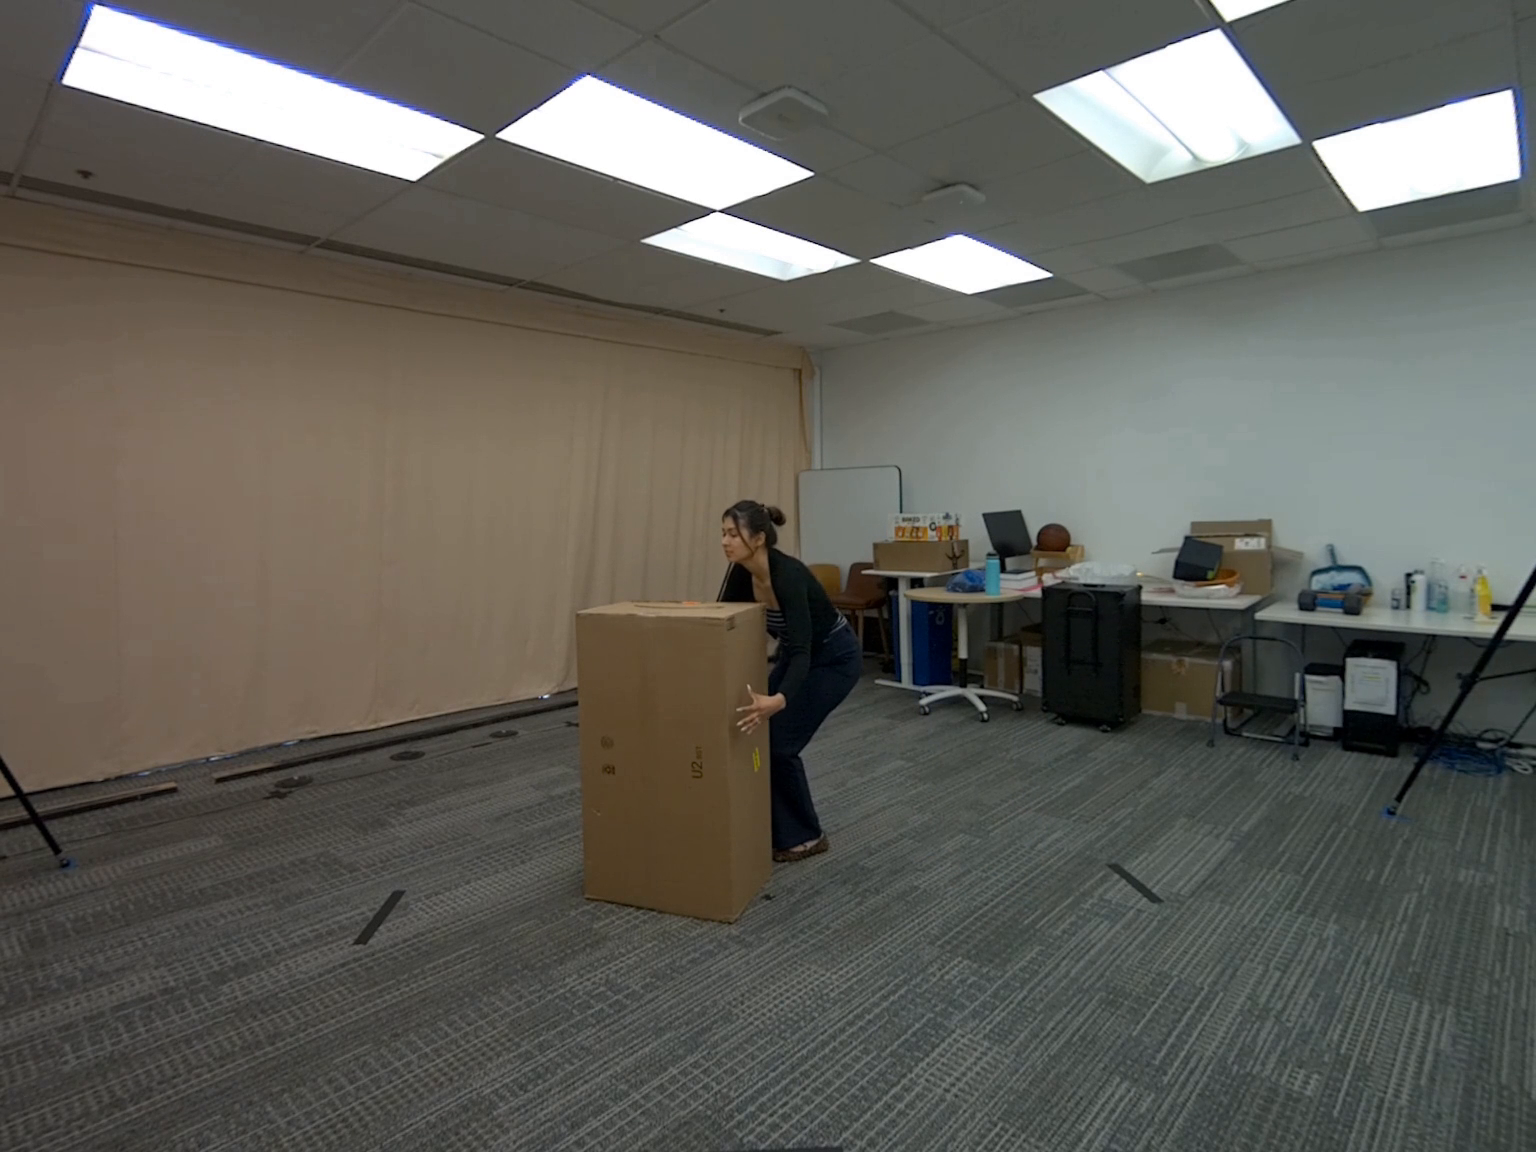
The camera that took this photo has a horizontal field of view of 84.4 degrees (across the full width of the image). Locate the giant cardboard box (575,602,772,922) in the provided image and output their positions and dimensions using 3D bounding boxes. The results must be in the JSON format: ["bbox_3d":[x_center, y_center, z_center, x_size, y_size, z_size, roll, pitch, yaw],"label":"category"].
[{"bbox_3d":[-0.331,0.629,3.070,0.590,1.024,0.417,0,2,21],"label":"giant cardboard box"}]
